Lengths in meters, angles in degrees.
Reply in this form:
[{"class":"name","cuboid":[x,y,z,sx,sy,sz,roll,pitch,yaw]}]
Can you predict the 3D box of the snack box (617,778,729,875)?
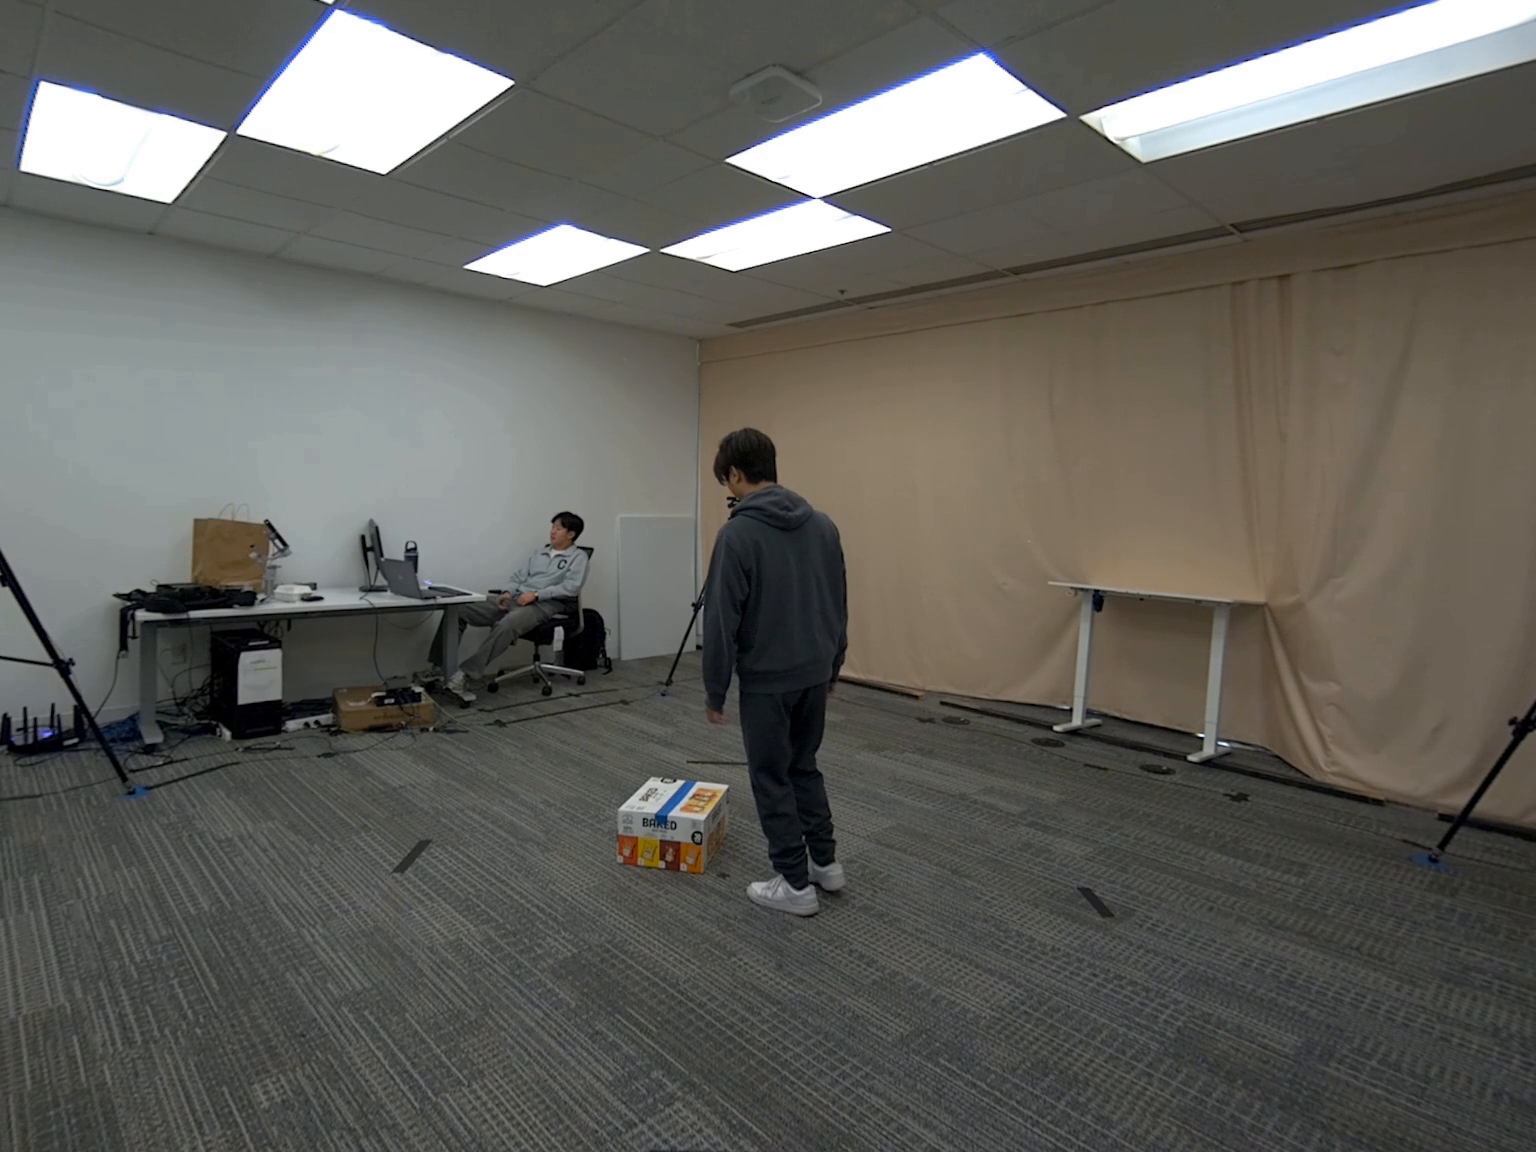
[{"class":"snack box","cuboid":[-0.375,0.978,3.339,0.344,0.205,0.402,3,5,12]}]
